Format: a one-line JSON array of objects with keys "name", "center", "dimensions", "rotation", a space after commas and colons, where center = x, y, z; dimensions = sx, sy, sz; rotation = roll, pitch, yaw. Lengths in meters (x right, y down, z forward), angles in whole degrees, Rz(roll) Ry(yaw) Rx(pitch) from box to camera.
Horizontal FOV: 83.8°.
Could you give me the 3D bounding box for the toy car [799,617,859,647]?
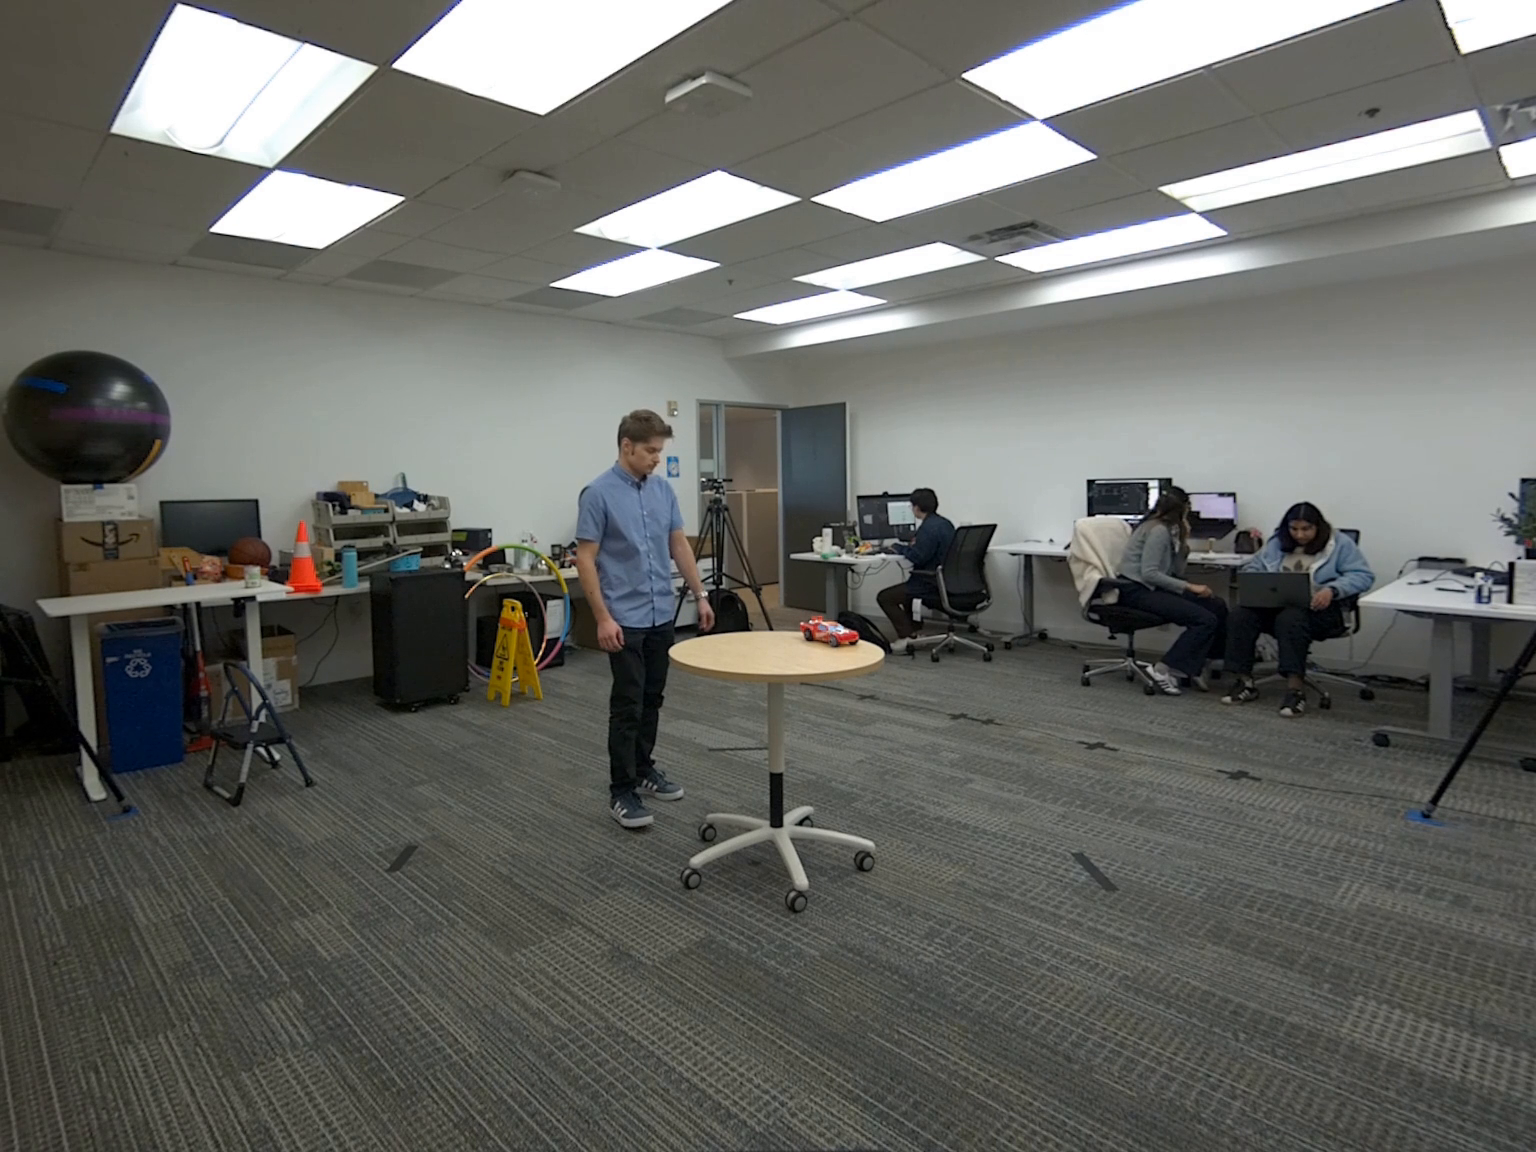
[{"name": "toy car", "center": [0.228, 0.214, 3.213], "dimensions": [0.127, 0.082, 0.264], "rotation": [-4, 18, -34]}]
